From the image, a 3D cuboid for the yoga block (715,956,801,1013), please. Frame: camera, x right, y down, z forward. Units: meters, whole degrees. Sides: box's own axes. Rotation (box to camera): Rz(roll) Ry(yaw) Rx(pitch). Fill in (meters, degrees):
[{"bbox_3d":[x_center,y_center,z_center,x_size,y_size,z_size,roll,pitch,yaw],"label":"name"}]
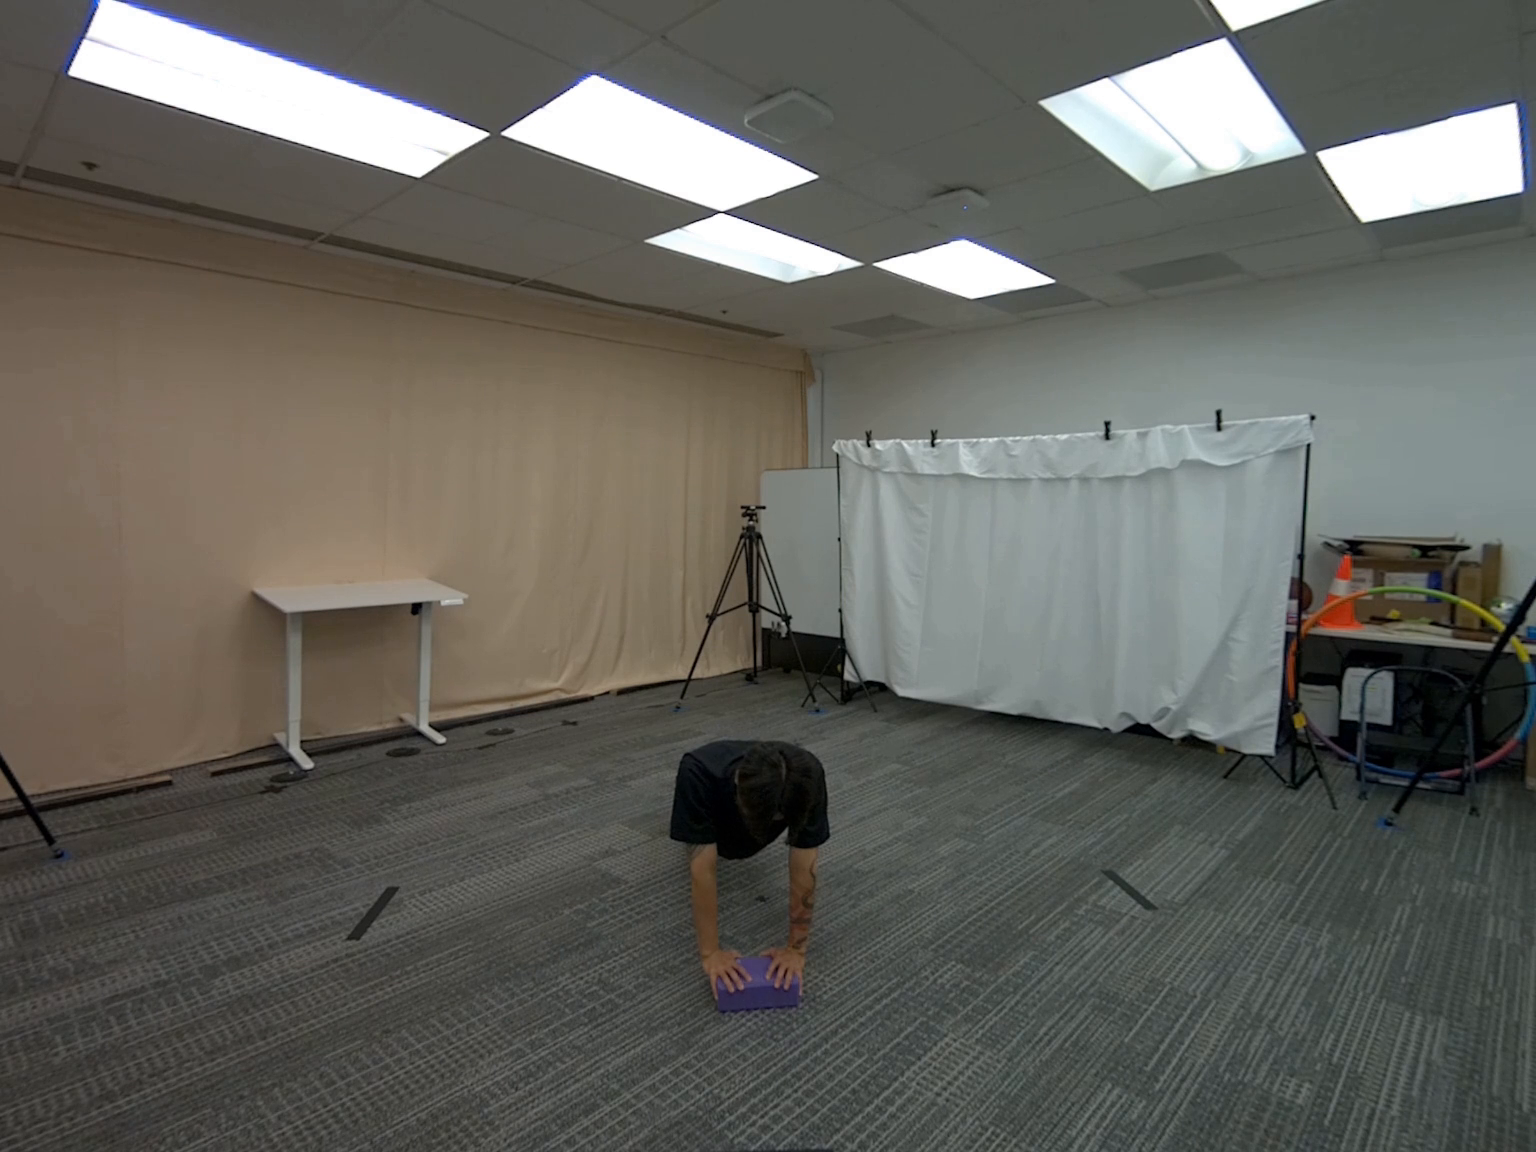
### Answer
[{"bbox_3d":[-0.039,1.149,2.395,0.227,0.076,0.151,1,5,-9],"label":"yoga block"}]
